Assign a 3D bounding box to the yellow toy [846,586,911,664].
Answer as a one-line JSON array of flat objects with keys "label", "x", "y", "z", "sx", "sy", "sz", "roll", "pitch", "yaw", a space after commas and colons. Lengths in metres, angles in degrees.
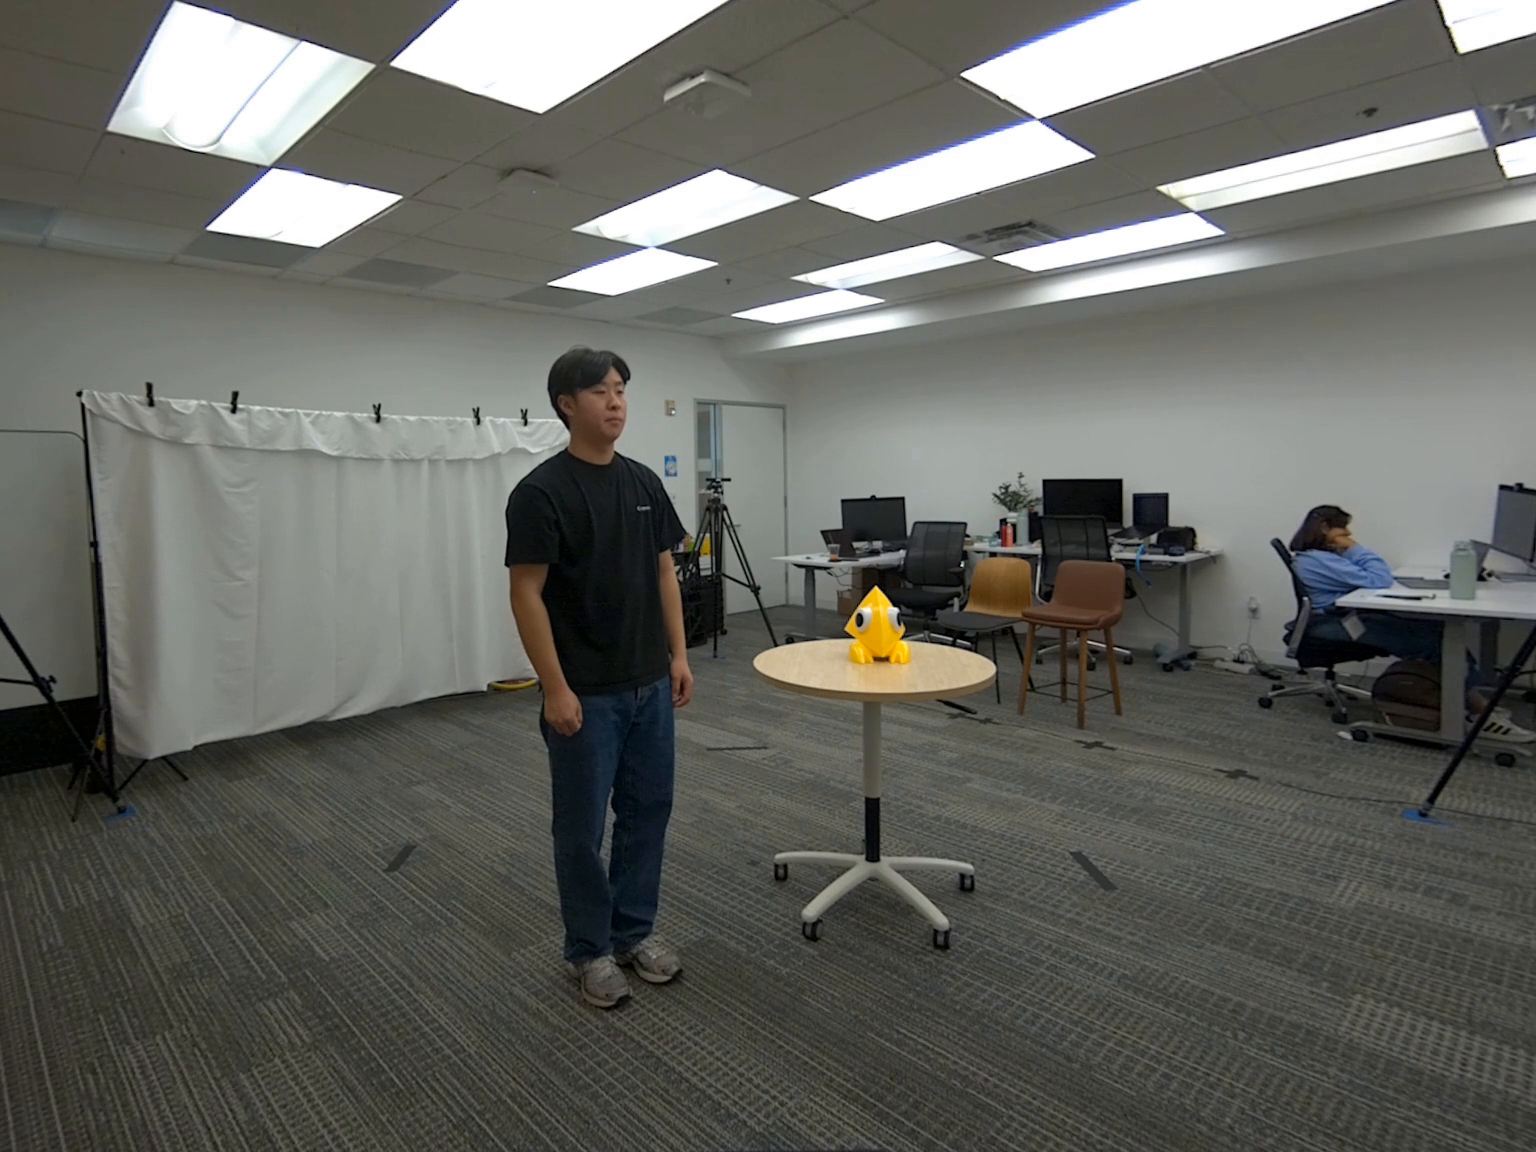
[{"label": "yellow toy", "x": 0.368, "y": 0.156, "z": 2.808, "sx": 0.205, "sy": 0.230, "sz": 0.193, "roll": -1, "pitch": 4, "yaw": 1}]
